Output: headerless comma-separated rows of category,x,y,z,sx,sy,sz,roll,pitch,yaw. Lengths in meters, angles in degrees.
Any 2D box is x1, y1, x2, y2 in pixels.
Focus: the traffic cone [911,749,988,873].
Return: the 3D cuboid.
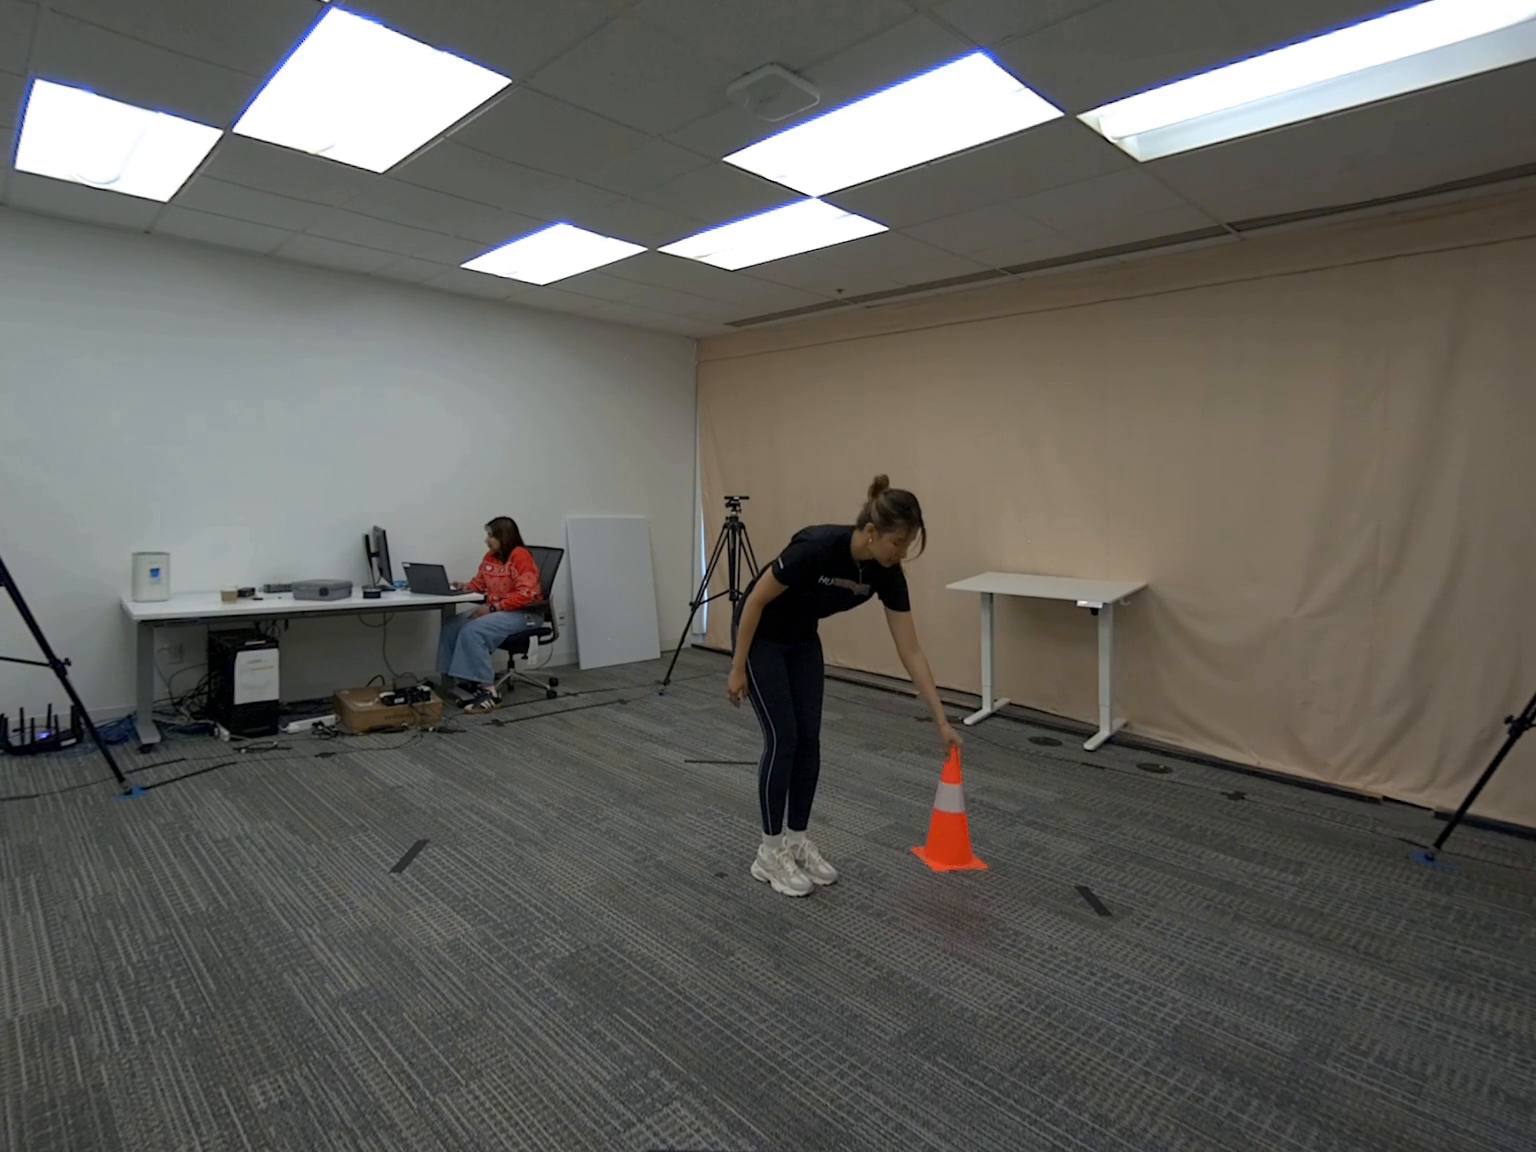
traffic cone,0.626,0.756,2.832,0.202,0.384,0.206,2,0,-18
